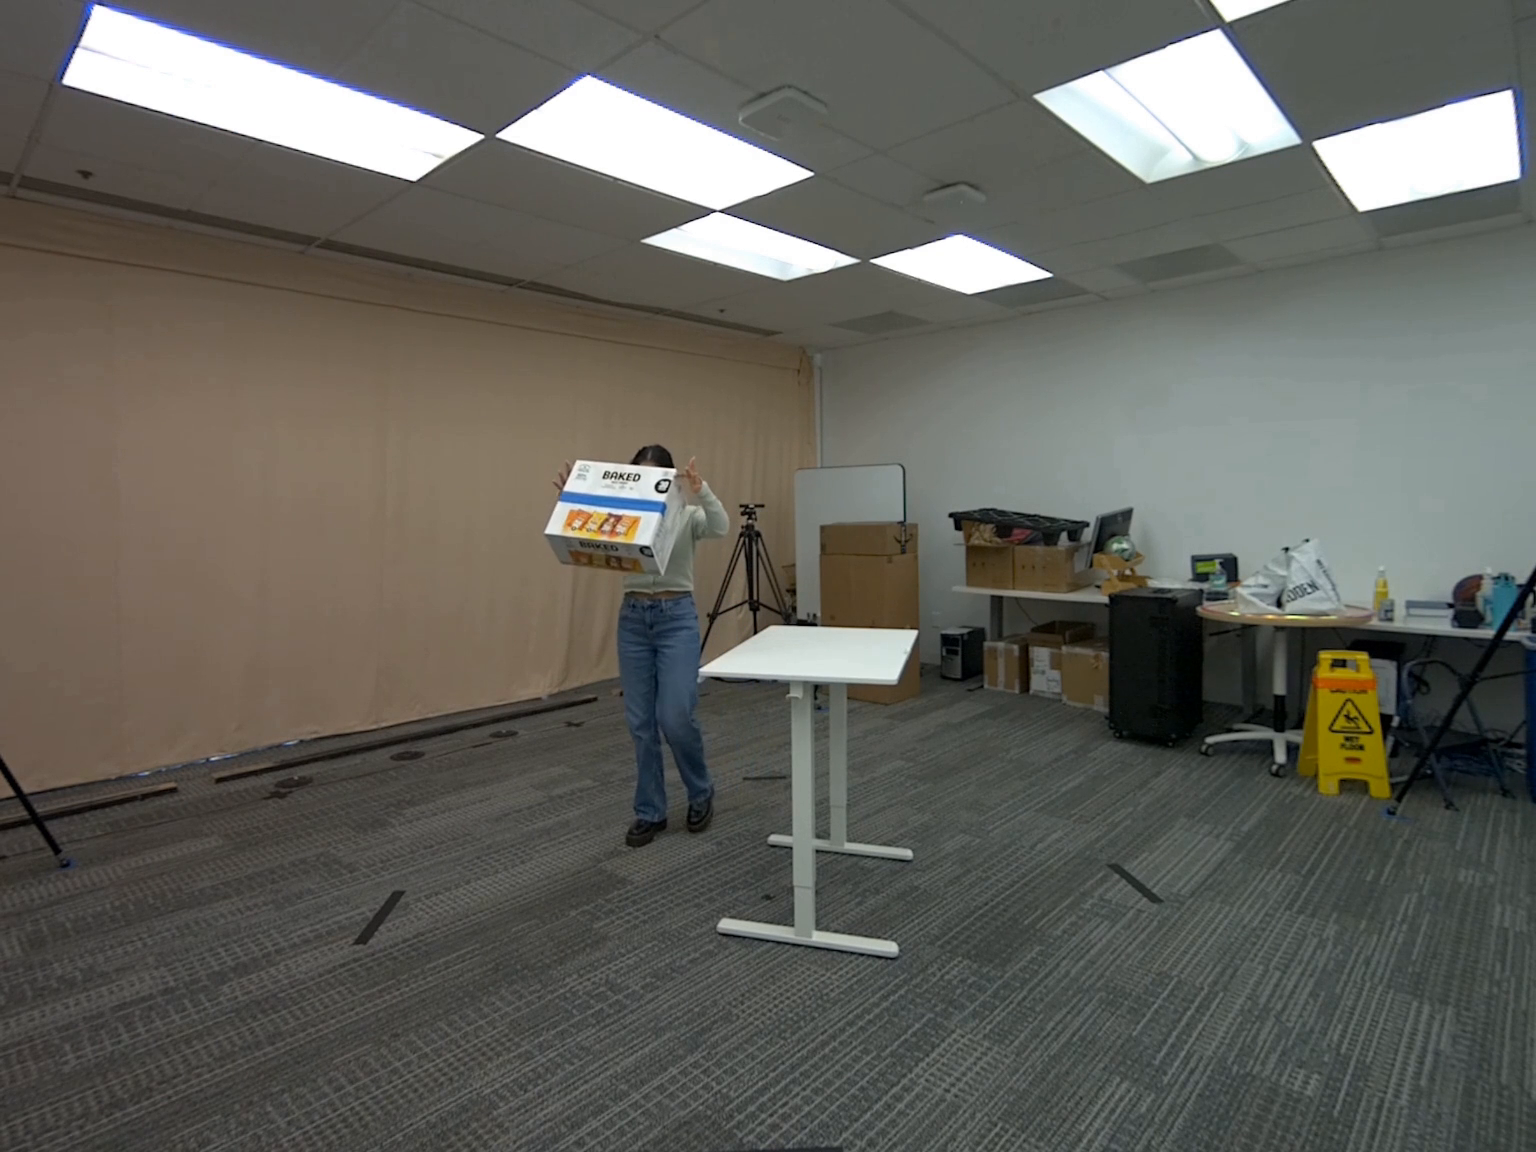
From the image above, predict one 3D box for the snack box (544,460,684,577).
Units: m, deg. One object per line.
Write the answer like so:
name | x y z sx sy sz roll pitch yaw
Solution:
snack box | -0.540 -0.211 3.079 0.412 0.343 0.200 7 -32 15
